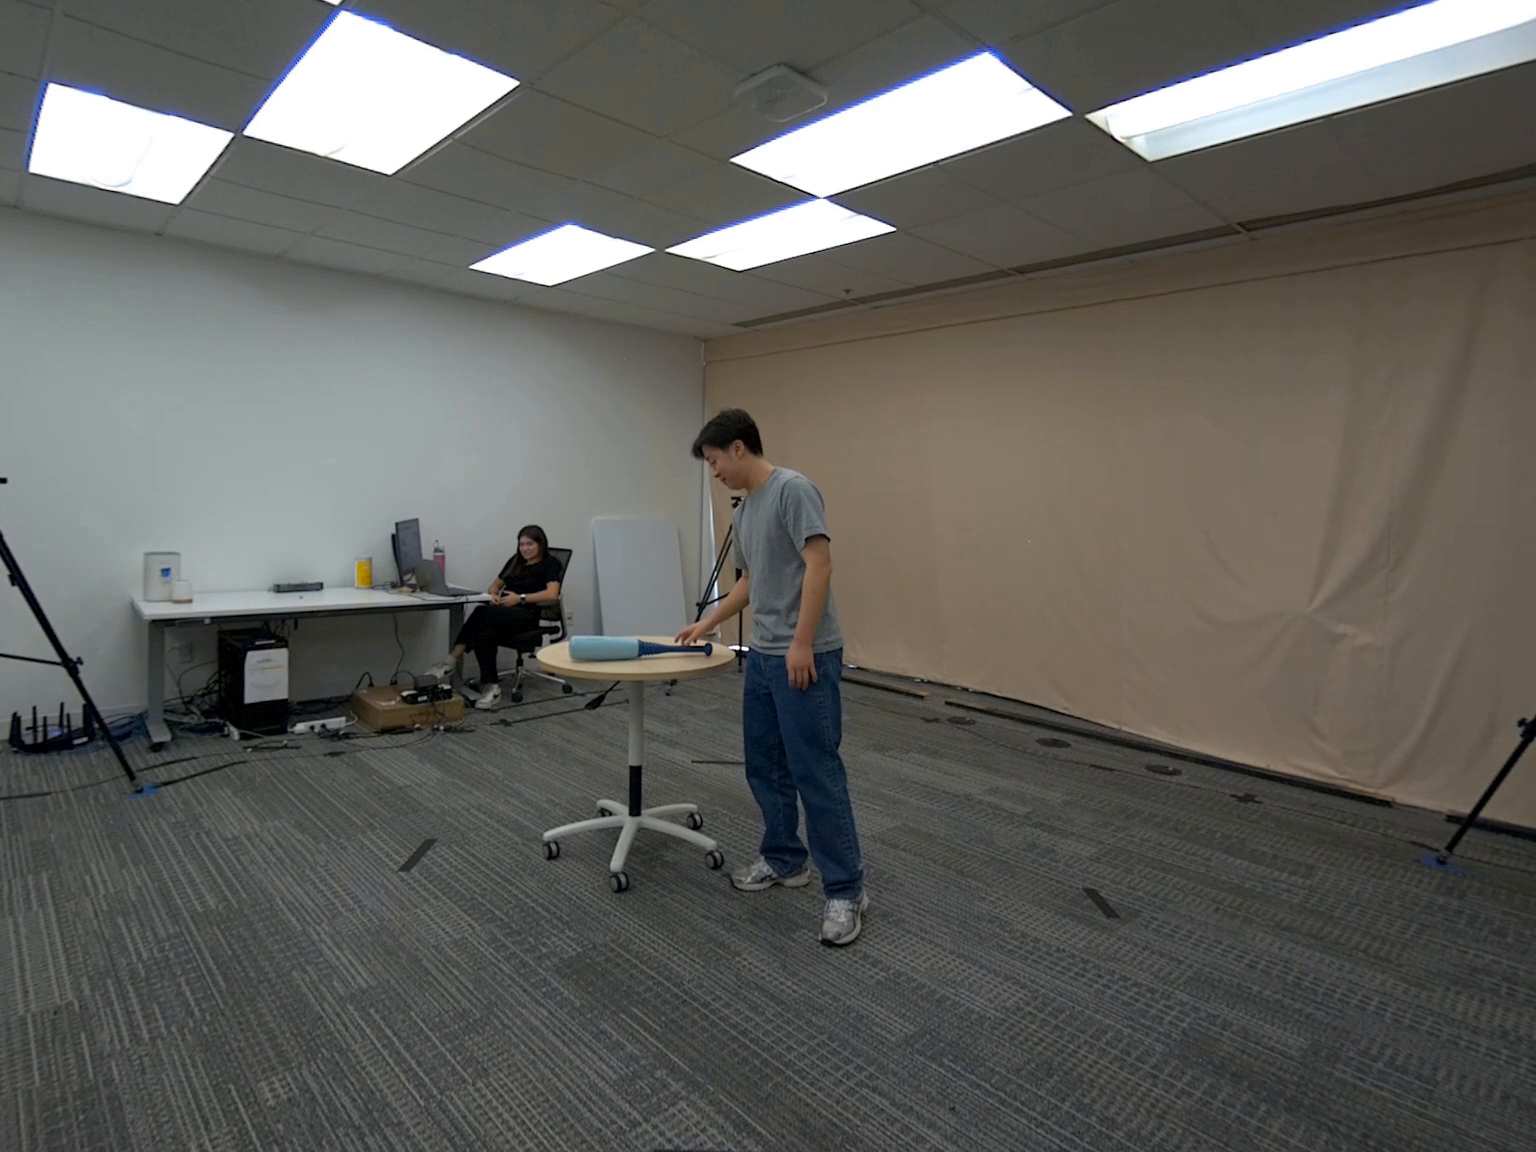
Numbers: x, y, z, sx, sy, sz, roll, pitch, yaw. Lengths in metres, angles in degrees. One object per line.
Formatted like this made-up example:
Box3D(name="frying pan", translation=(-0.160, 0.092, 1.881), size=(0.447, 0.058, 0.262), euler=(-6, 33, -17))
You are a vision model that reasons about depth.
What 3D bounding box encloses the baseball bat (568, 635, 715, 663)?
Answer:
Box3D(name="baseball bat", translation=(-0.475, 0.275, 3.150), size=(0.536, 0.089, 0.090), euler=(3, 4, -17))
